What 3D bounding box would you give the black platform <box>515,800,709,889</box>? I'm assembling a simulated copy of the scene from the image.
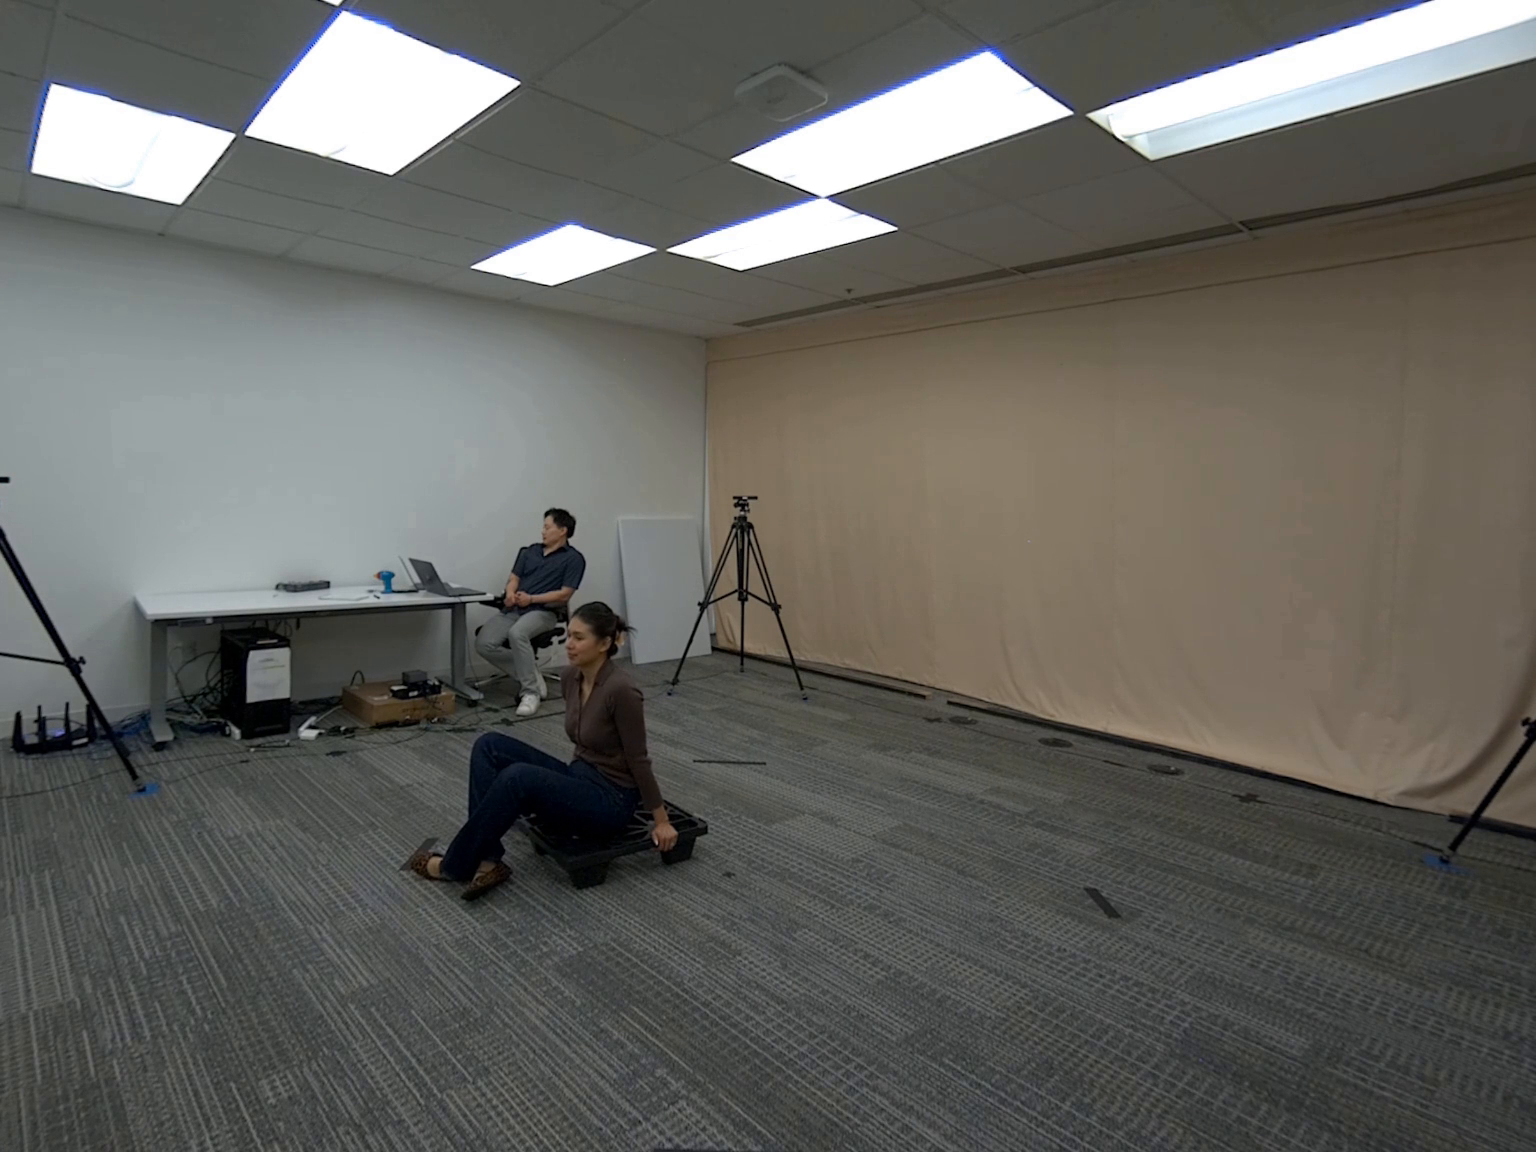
[{"bbox_3d":[-0.708,1.000,3.388,0.592,0.143,0.826,-3,7,-37],"label":"black platform"}]
